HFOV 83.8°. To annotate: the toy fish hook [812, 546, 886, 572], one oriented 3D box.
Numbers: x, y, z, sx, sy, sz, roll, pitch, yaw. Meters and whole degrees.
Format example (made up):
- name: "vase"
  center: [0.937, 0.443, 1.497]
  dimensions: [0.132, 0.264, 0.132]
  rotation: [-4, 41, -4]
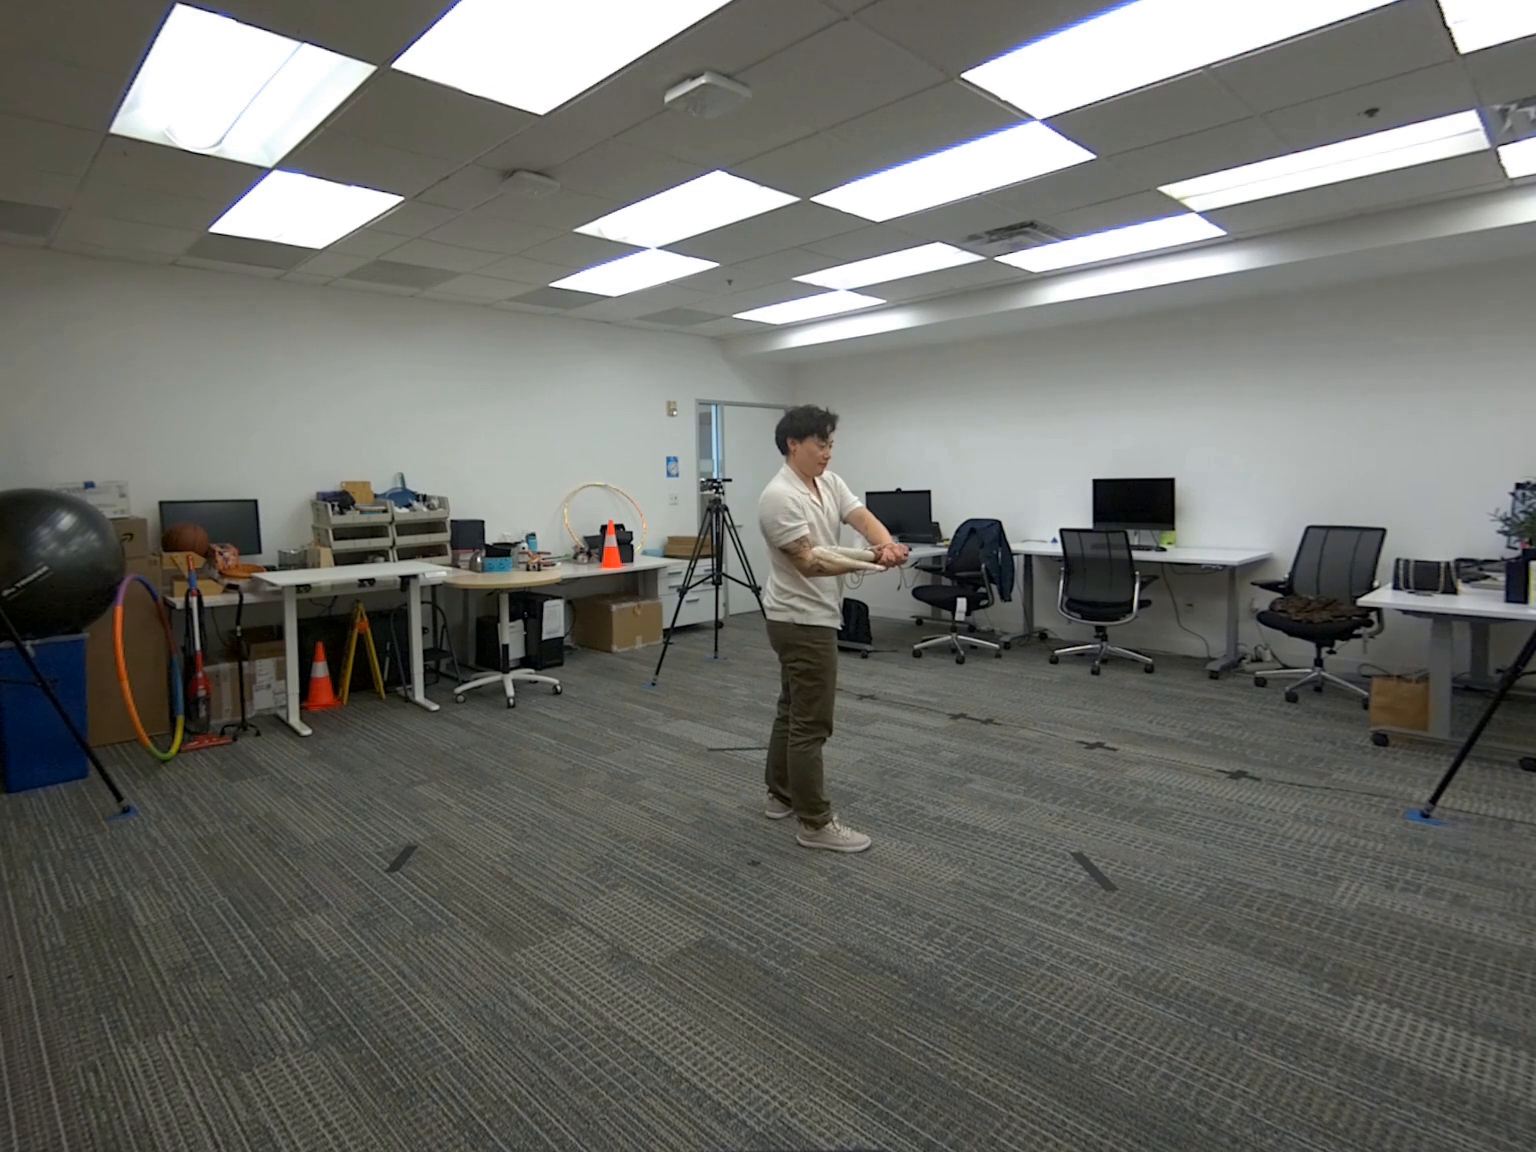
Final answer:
- name: "toy fish hook"
  center: [0.369, -0.054, 2.835]
  dimensions: [0.233, 0.048, 0.492]
  rotation: [25, 16, 35]
